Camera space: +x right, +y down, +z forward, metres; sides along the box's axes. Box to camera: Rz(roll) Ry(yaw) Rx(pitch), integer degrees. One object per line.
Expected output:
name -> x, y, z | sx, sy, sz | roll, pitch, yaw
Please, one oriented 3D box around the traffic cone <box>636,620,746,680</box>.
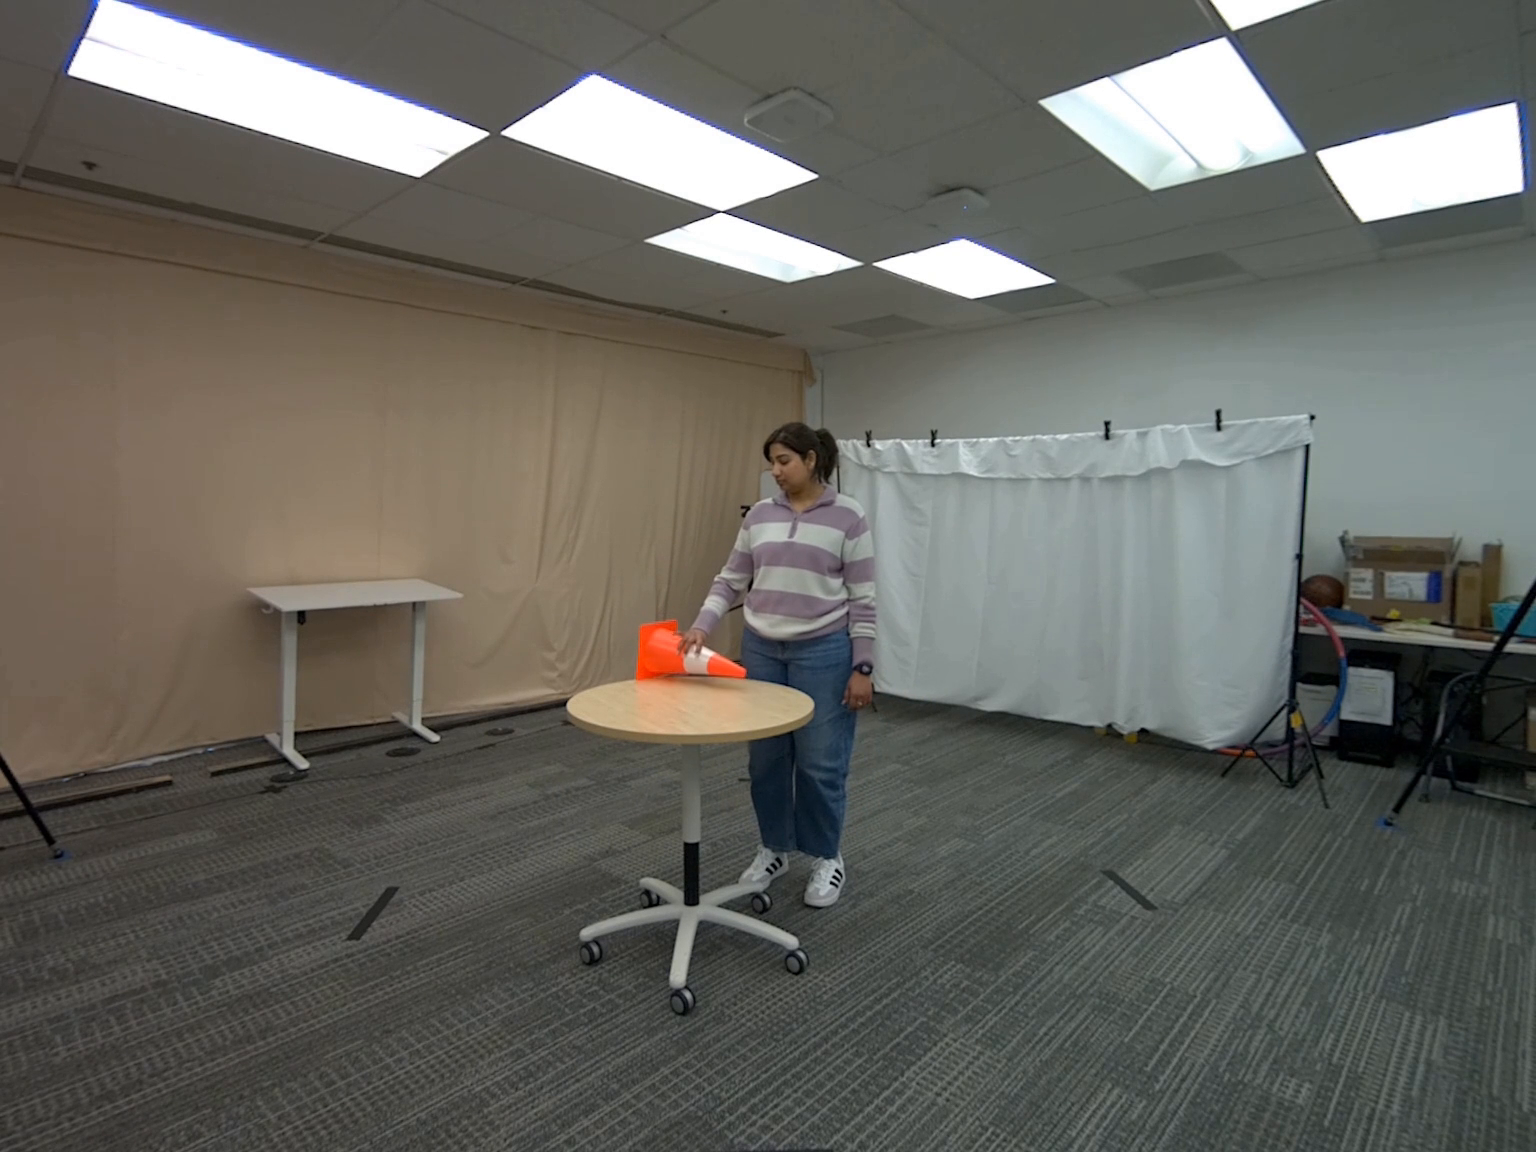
traffic cone -> -0.235, 0.291, 2.876 | 0.396, 0.202, 0.199 | 9, 9, 36
